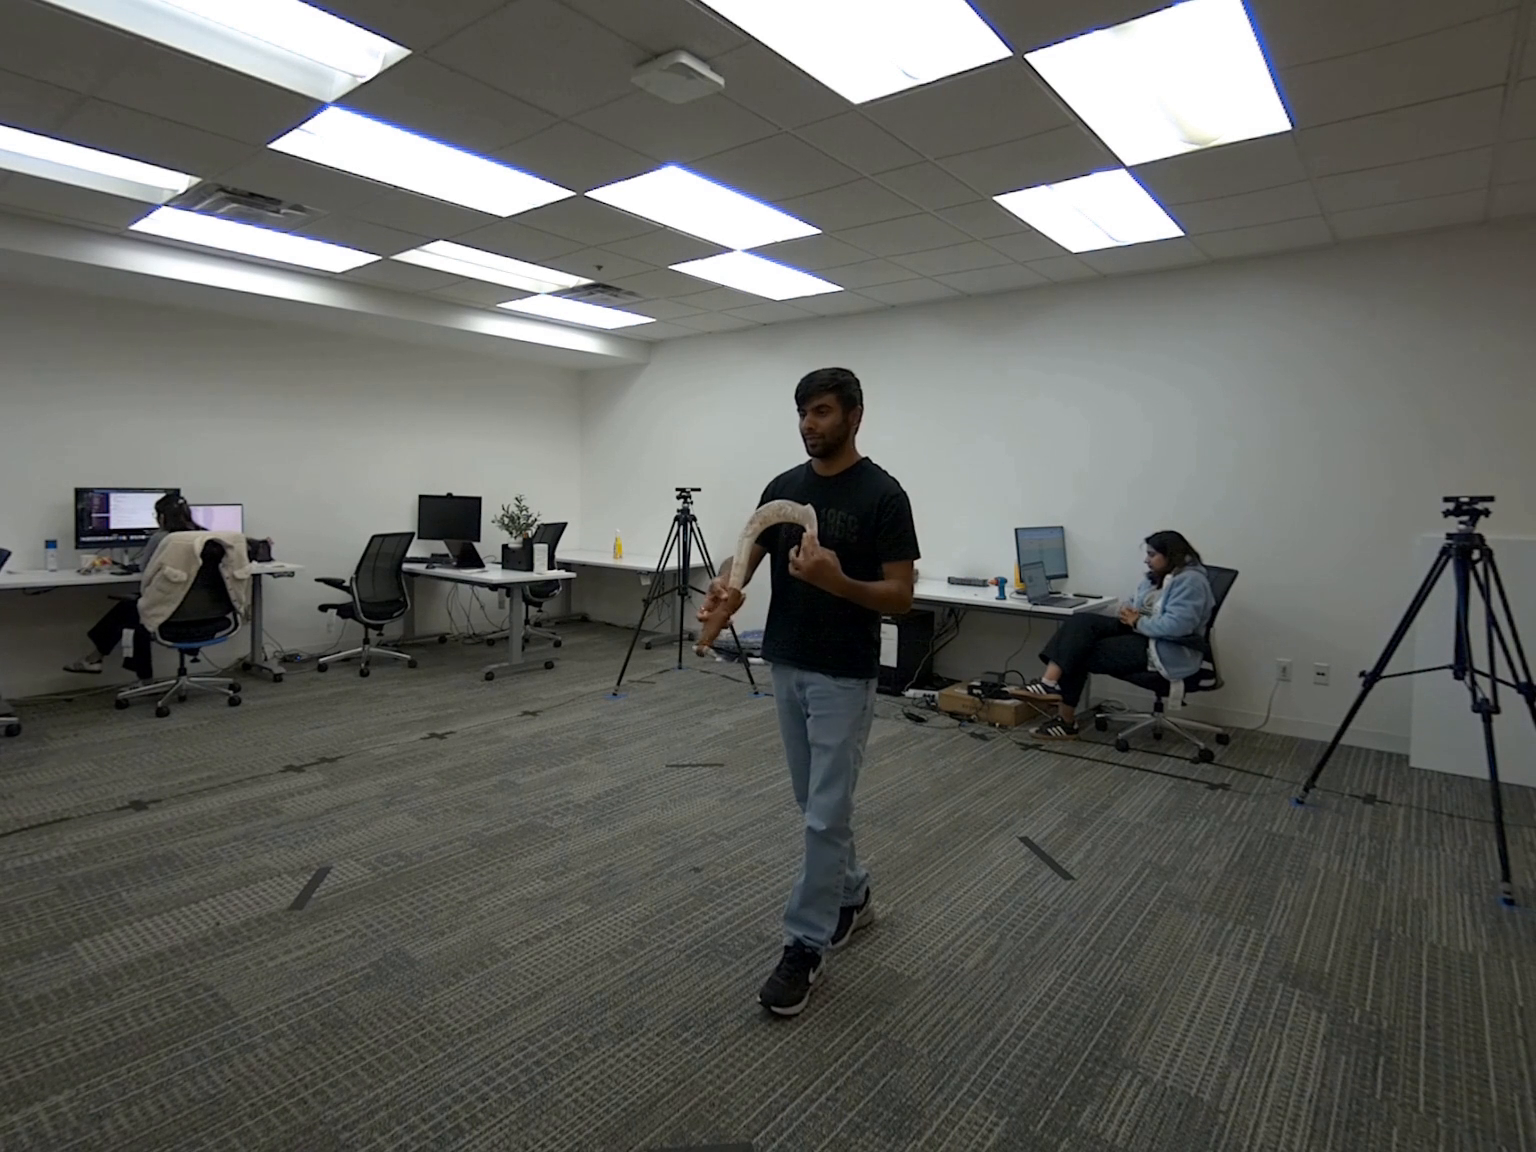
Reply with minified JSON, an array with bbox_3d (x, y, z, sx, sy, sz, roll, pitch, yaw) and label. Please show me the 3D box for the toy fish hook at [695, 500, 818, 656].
[{"bbox_3d":[-0.026,-0.001,2.197,0.232,0.510,0.046,10,-29,35],"label":"toy fish hook"}]
